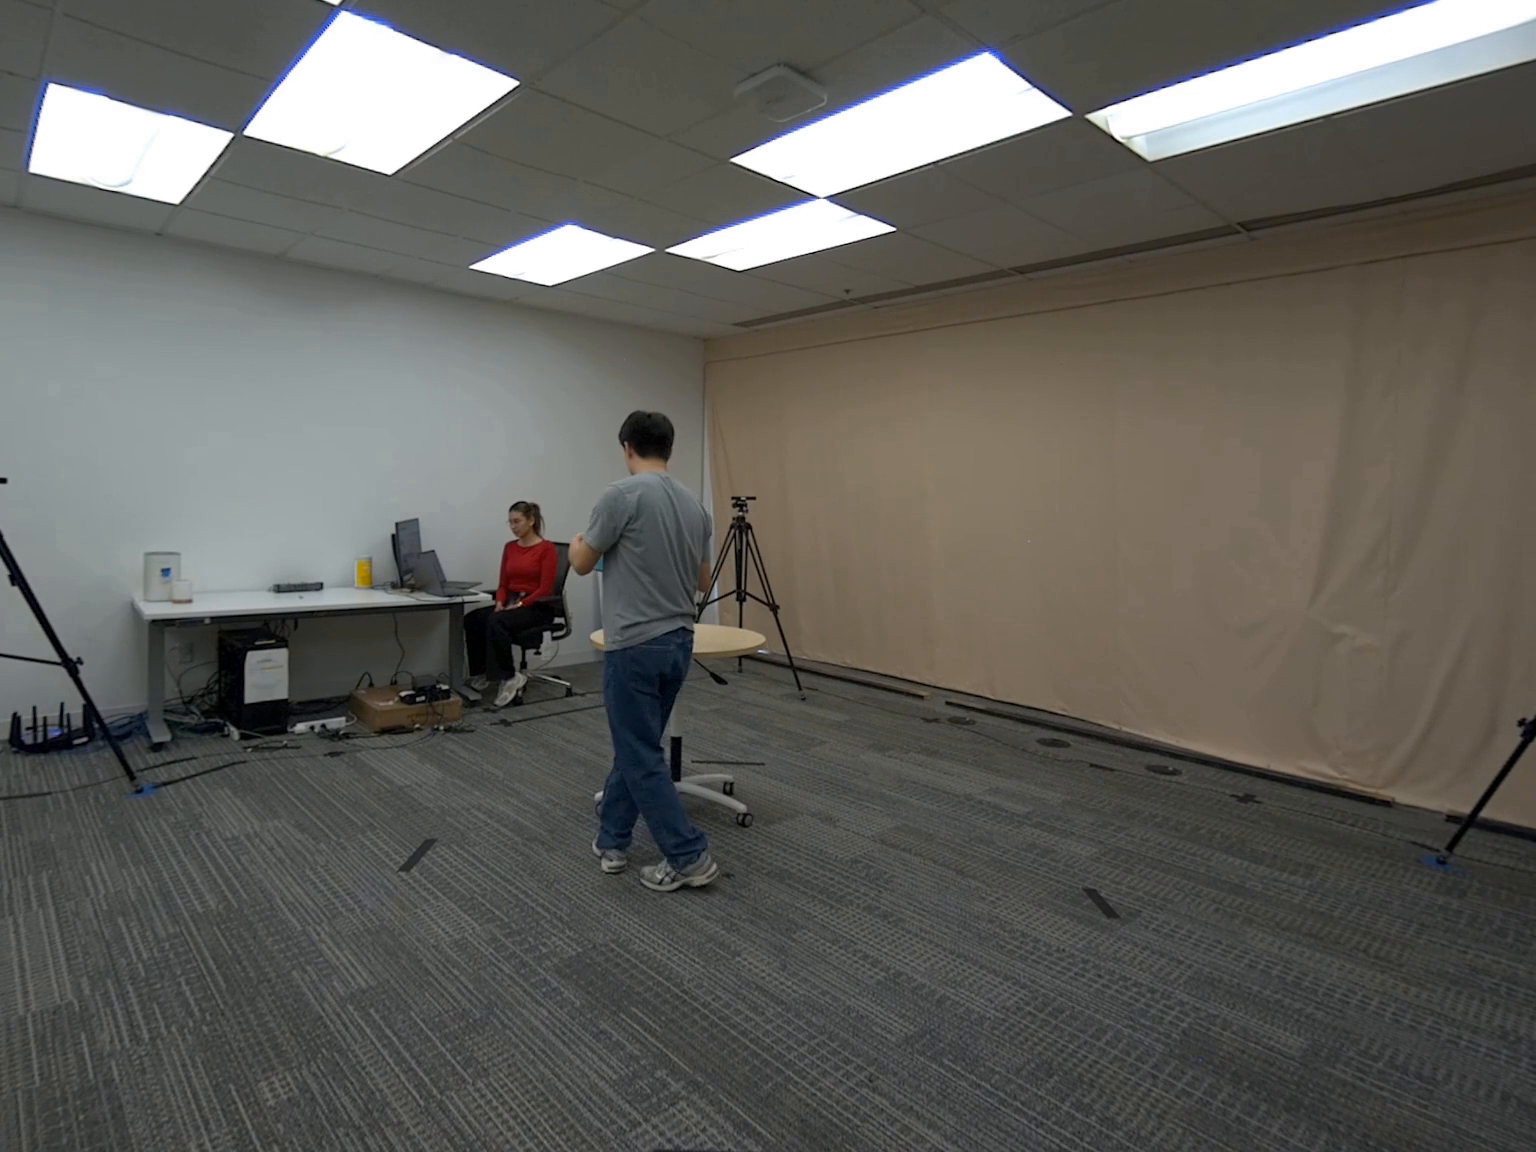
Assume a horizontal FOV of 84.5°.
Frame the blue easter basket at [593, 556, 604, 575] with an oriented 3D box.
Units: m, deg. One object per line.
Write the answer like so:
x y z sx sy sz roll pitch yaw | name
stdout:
-0.619 -0.086 3.408 0.244 0.156 0.243 10 -5 0 | blue easter basket
